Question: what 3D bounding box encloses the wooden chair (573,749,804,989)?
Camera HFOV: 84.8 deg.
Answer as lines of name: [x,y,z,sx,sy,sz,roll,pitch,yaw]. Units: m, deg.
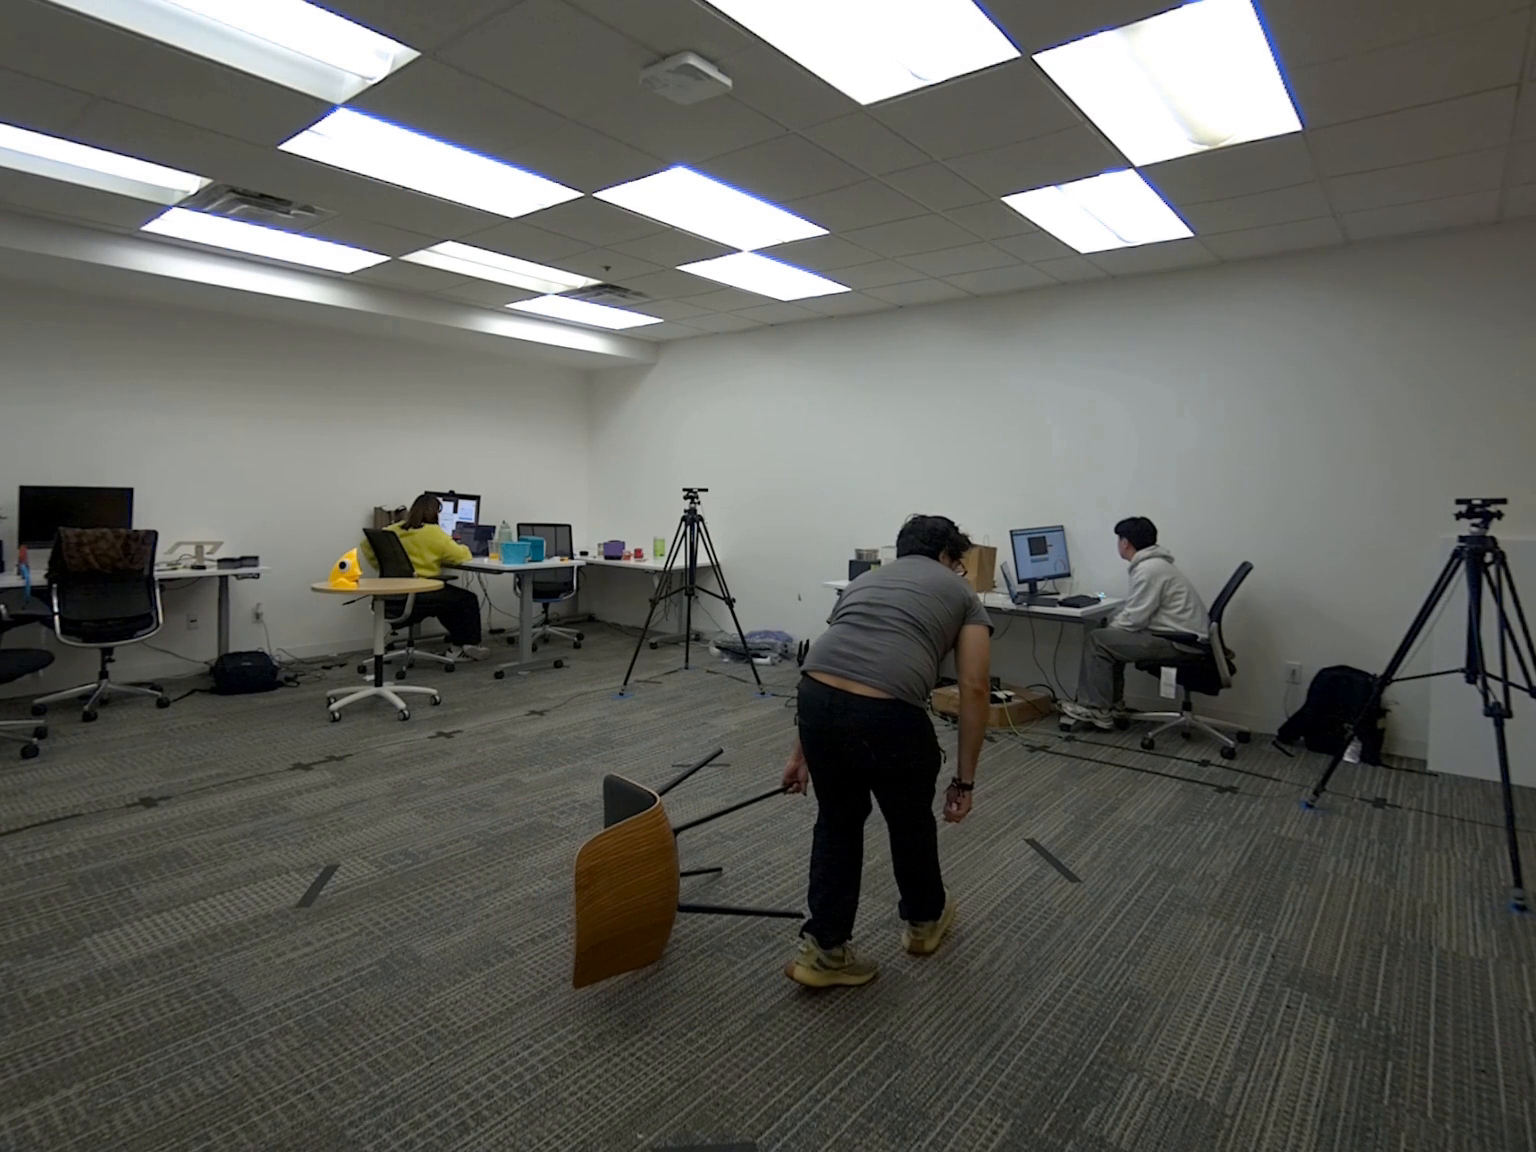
wooden chair: [-0.367,0.879,2.657,0.851,0.477,0.541,-4,5,-43]
